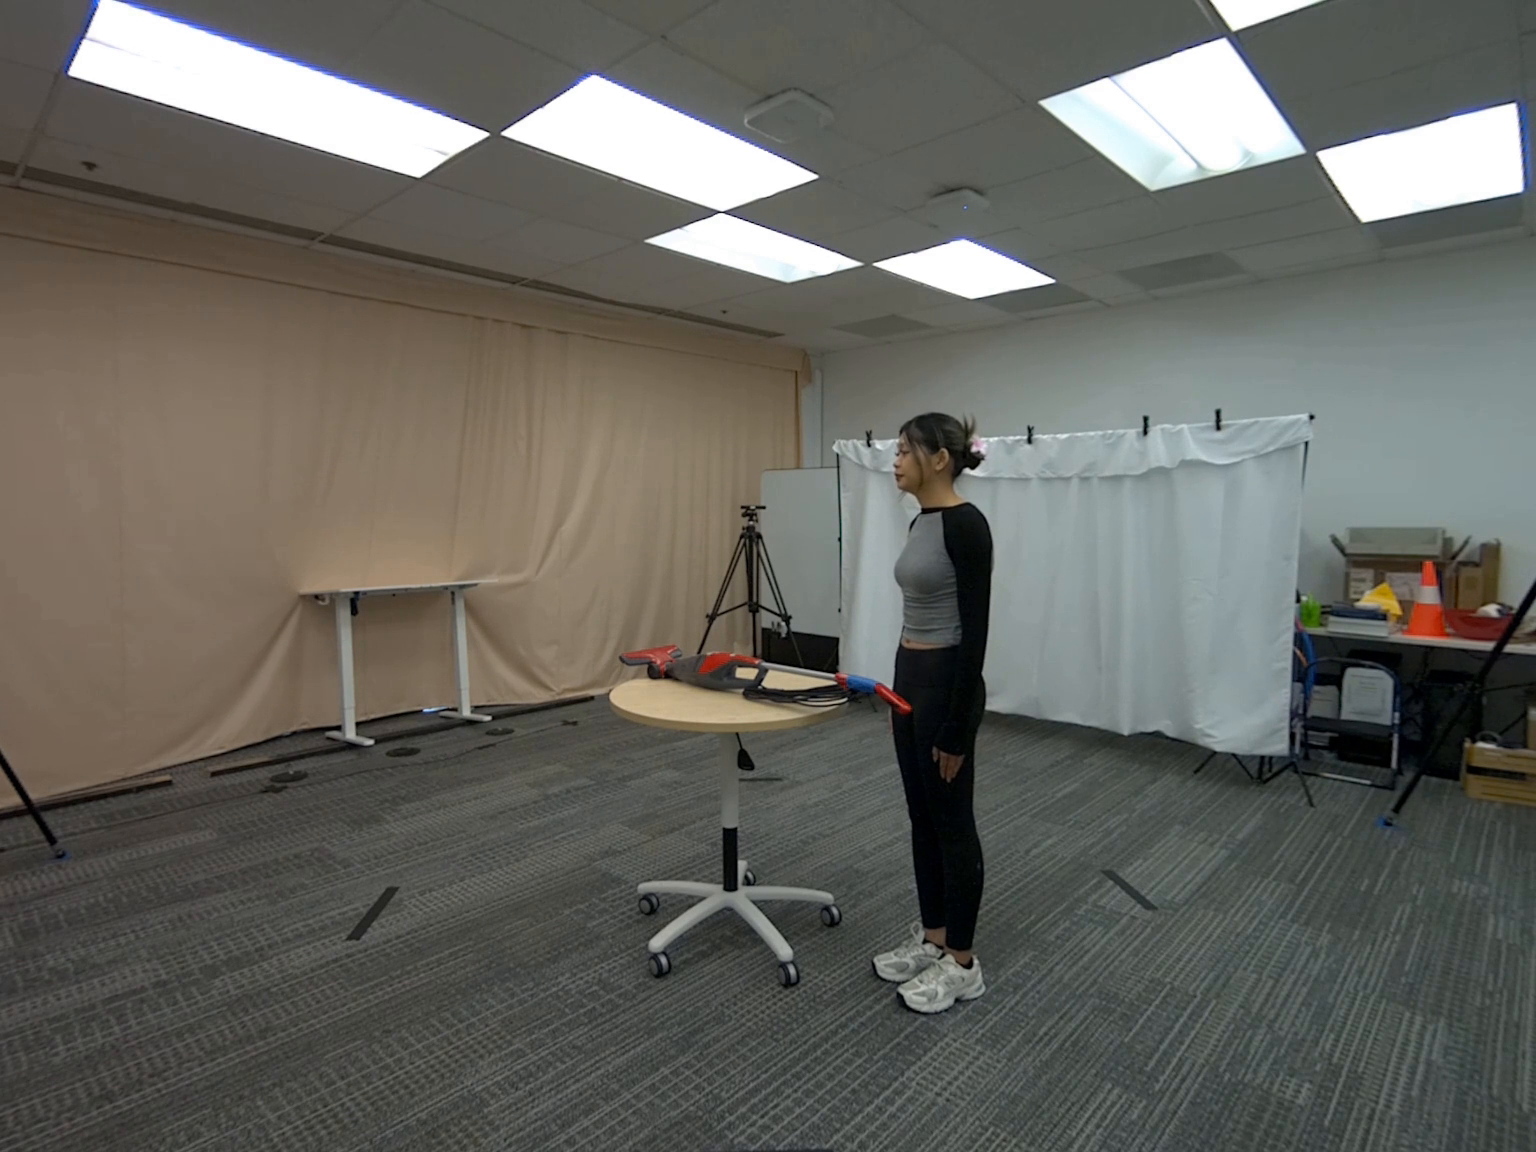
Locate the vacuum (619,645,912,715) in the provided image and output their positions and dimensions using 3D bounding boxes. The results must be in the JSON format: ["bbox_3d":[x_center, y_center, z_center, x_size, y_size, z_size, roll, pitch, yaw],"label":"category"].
[{"bbox_3d":[-0.020,0.337,2.604,0.245,0.144,1.084,-3,4,-45],"label":"vacuum"}]
